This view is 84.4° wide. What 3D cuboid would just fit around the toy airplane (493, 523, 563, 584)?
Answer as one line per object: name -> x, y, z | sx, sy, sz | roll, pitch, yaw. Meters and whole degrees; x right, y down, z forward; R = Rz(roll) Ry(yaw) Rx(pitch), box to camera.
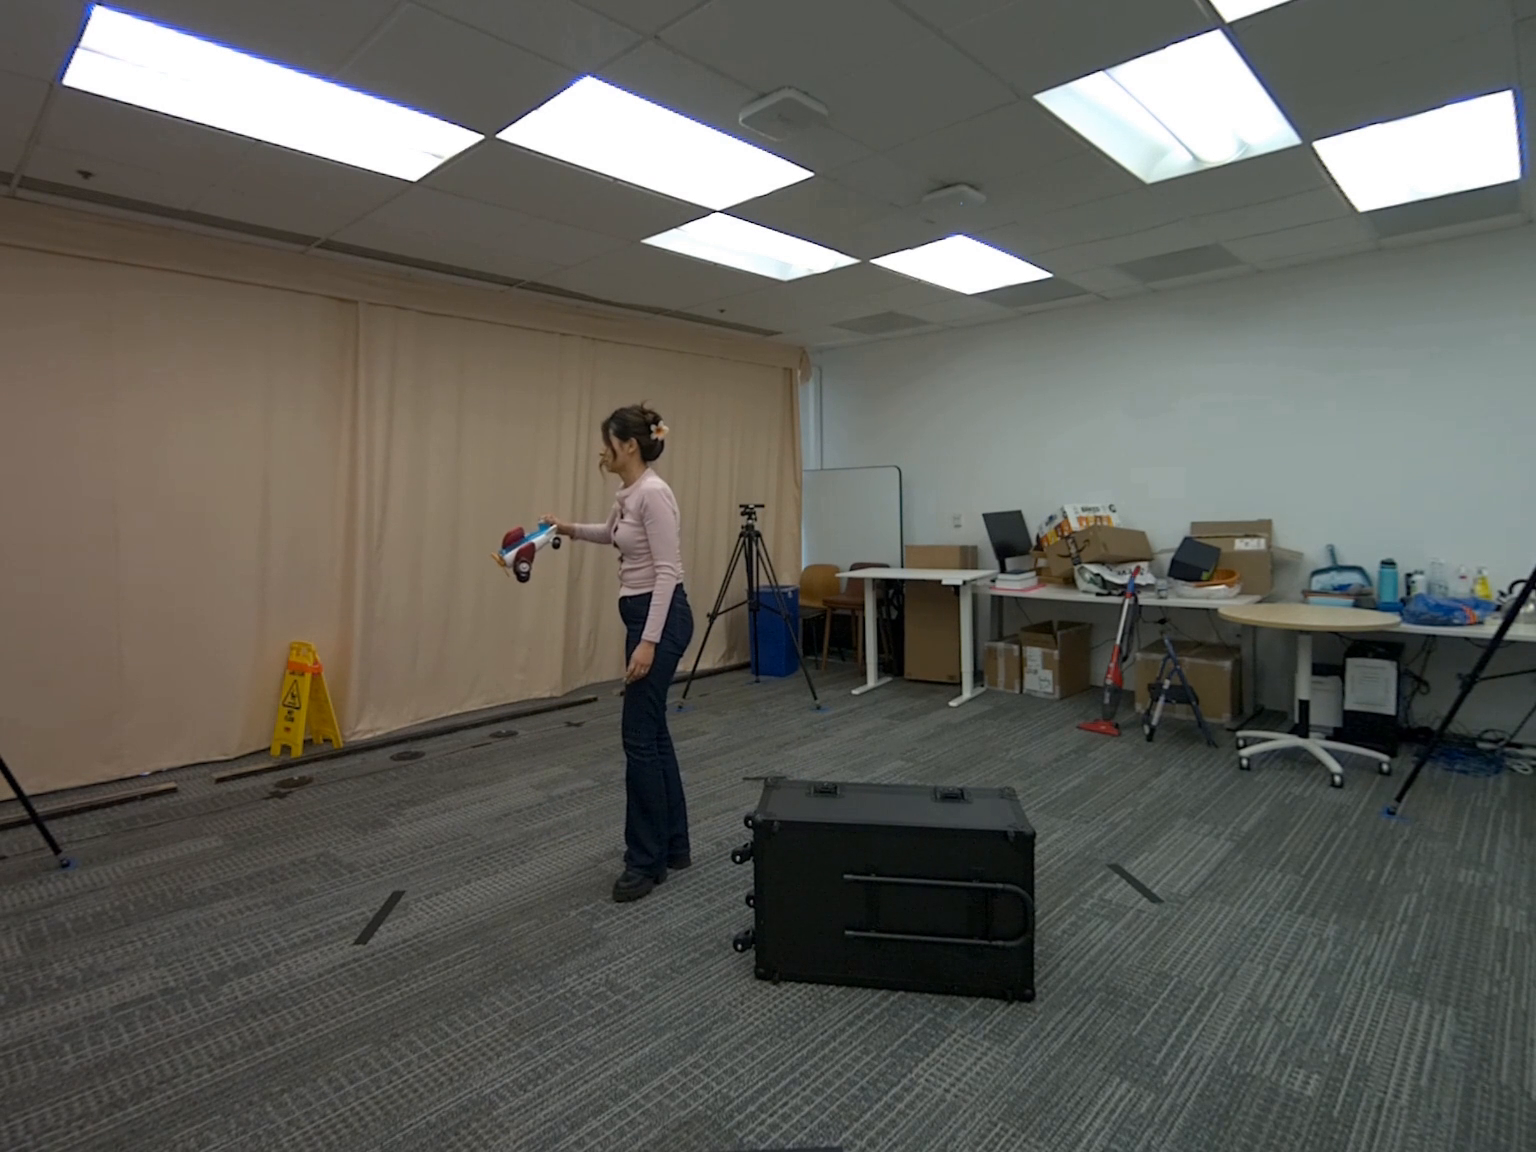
toy airplane -> -0.939, -0.102, 3.286 | 0.157, 0.252, 0.257 | 39, 33, 1
